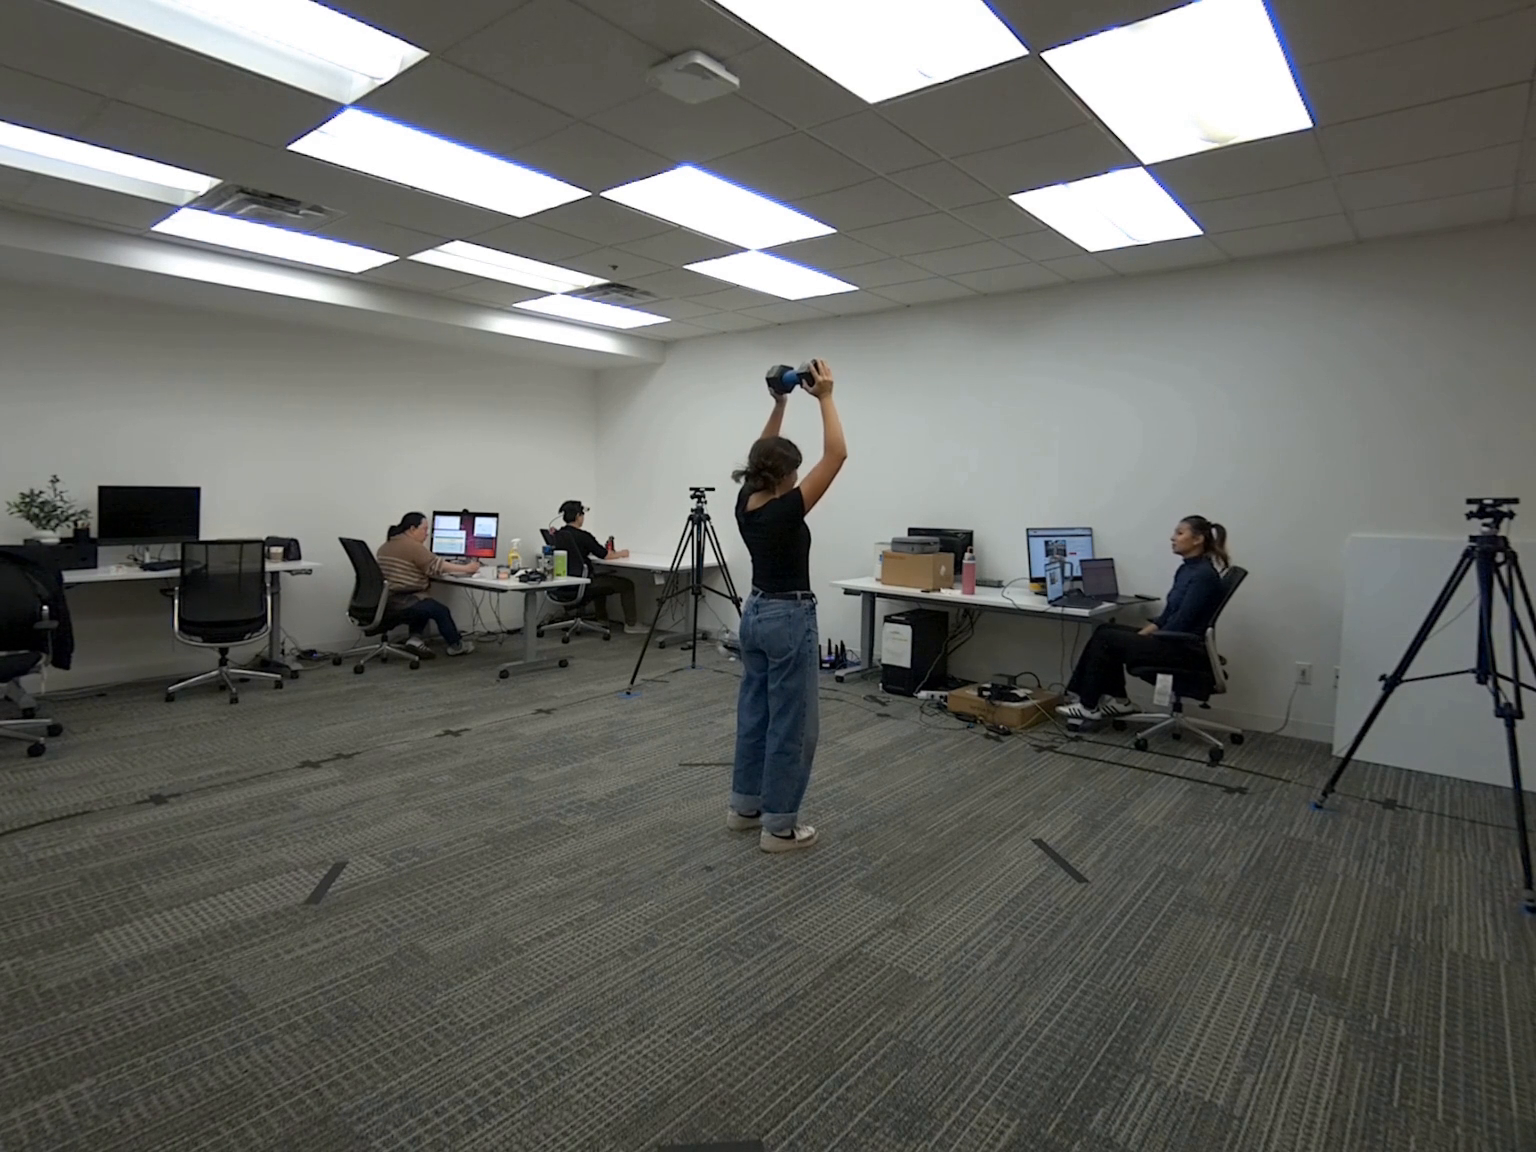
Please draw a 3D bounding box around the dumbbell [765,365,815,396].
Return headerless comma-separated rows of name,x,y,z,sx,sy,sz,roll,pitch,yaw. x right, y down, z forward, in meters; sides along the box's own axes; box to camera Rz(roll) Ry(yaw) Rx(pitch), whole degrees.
dumbbell,0.105,-0.776,3.343,0.105,0.123,0.303,41,-16,-31
